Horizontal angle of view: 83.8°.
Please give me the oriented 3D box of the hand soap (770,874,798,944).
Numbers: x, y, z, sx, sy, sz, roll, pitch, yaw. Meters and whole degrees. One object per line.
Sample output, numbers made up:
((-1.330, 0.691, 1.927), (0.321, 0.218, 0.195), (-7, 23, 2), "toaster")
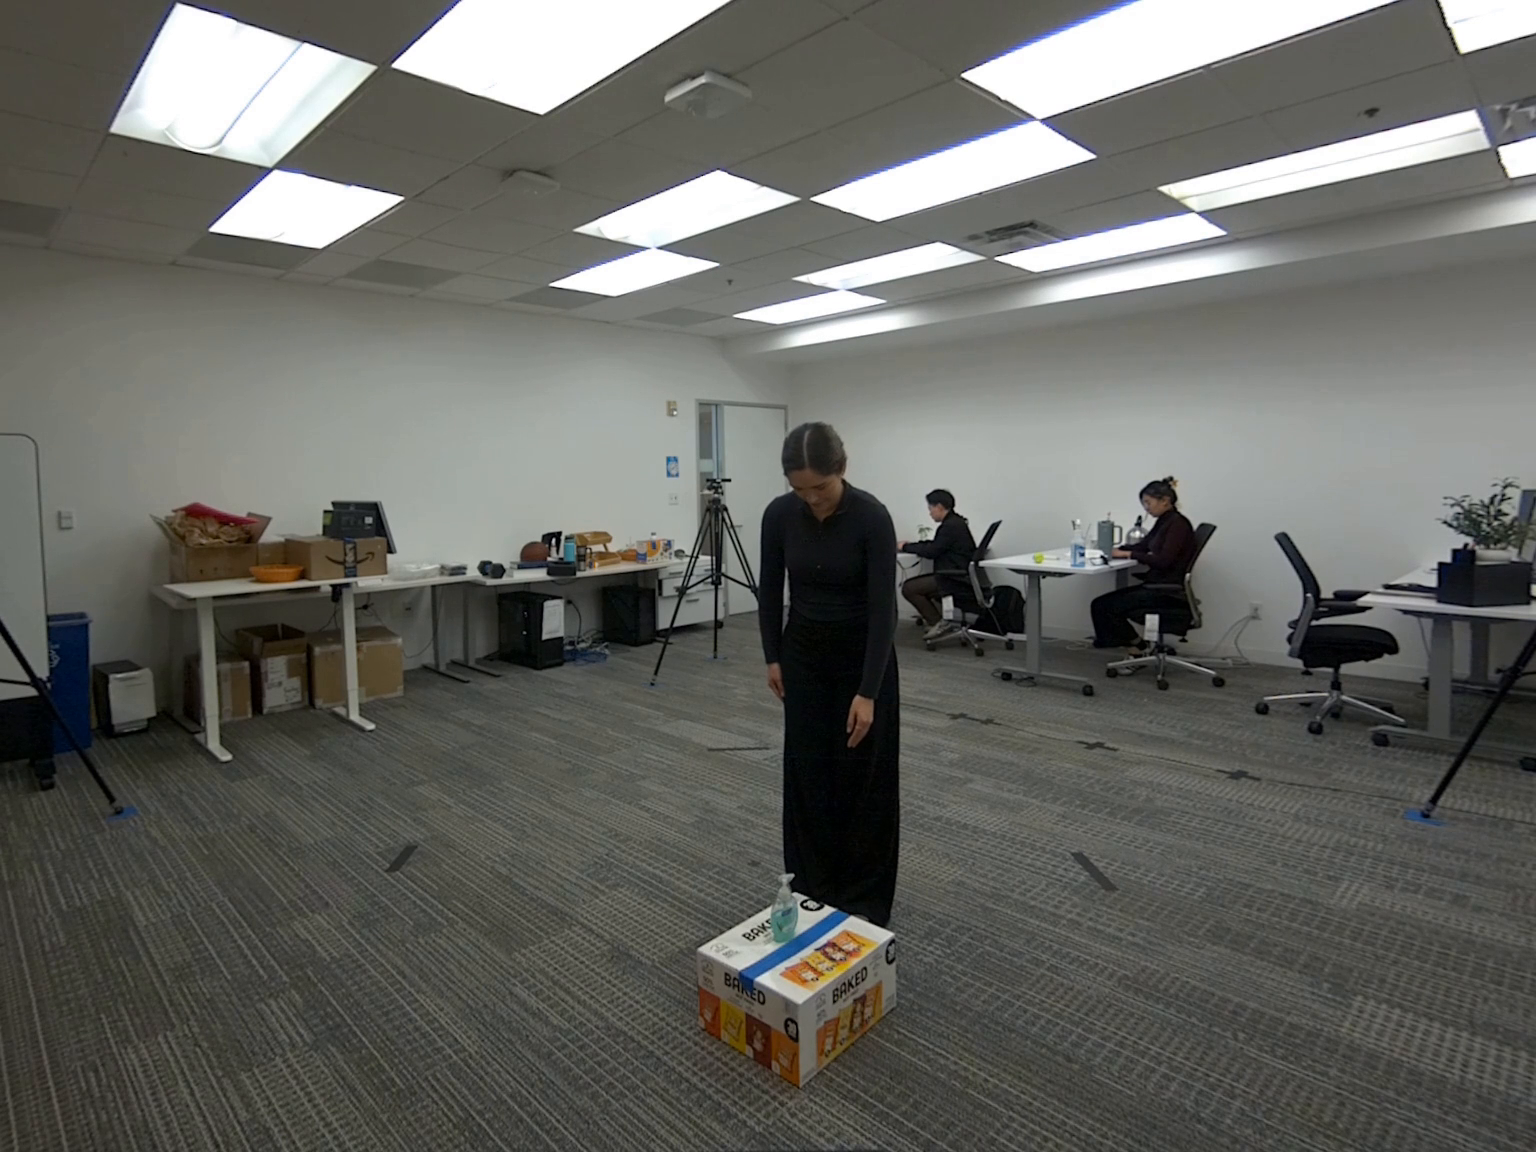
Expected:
((0.047, 0.865, 2.238), (0.082, 0.167, 0.045), (-7, 9, -38), "hand soap")
